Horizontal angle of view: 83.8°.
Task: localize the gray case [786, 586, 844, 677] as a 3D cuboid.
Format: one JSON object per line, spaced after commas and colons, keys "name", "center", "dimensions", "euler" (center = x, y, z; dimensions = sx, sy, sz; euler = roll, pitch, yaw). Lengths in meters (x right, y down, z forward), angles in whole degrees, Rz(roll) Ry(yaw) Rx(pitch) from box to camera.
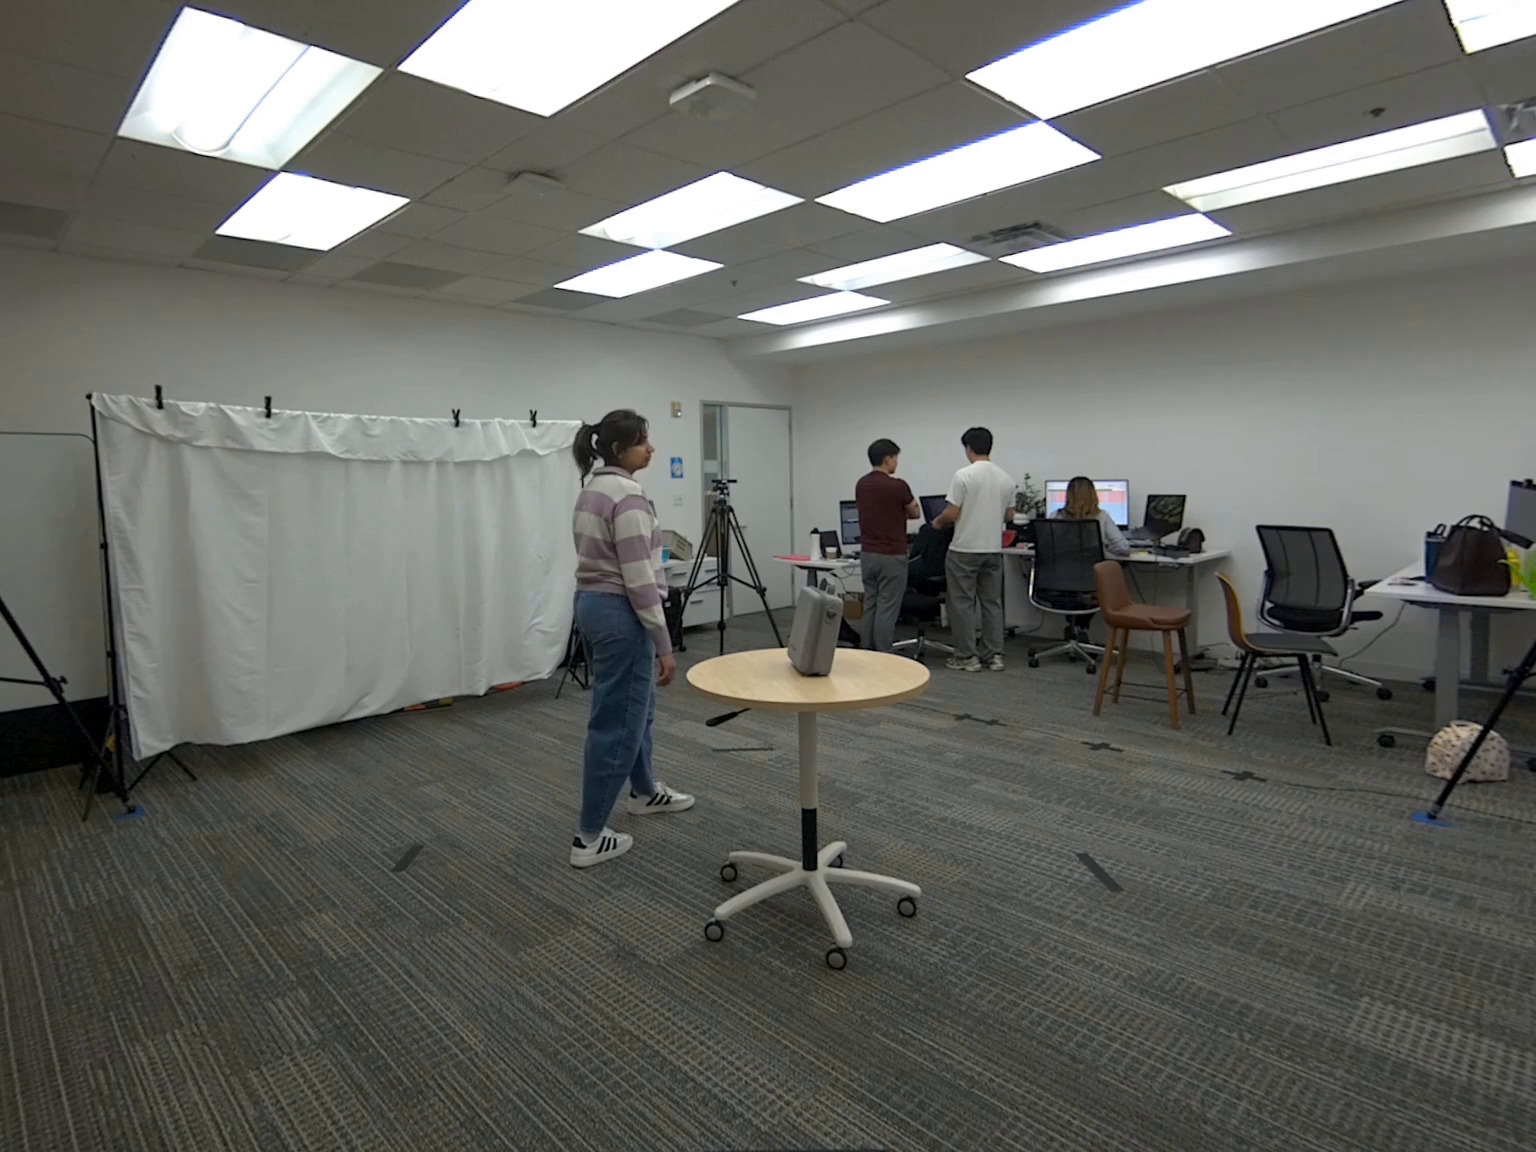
{"name": "gray case", "center": [0.153, 0.169, 2.743], "dimensions": [0.103, 0.260, 0.259], "euler": [7, 4, -8]}
